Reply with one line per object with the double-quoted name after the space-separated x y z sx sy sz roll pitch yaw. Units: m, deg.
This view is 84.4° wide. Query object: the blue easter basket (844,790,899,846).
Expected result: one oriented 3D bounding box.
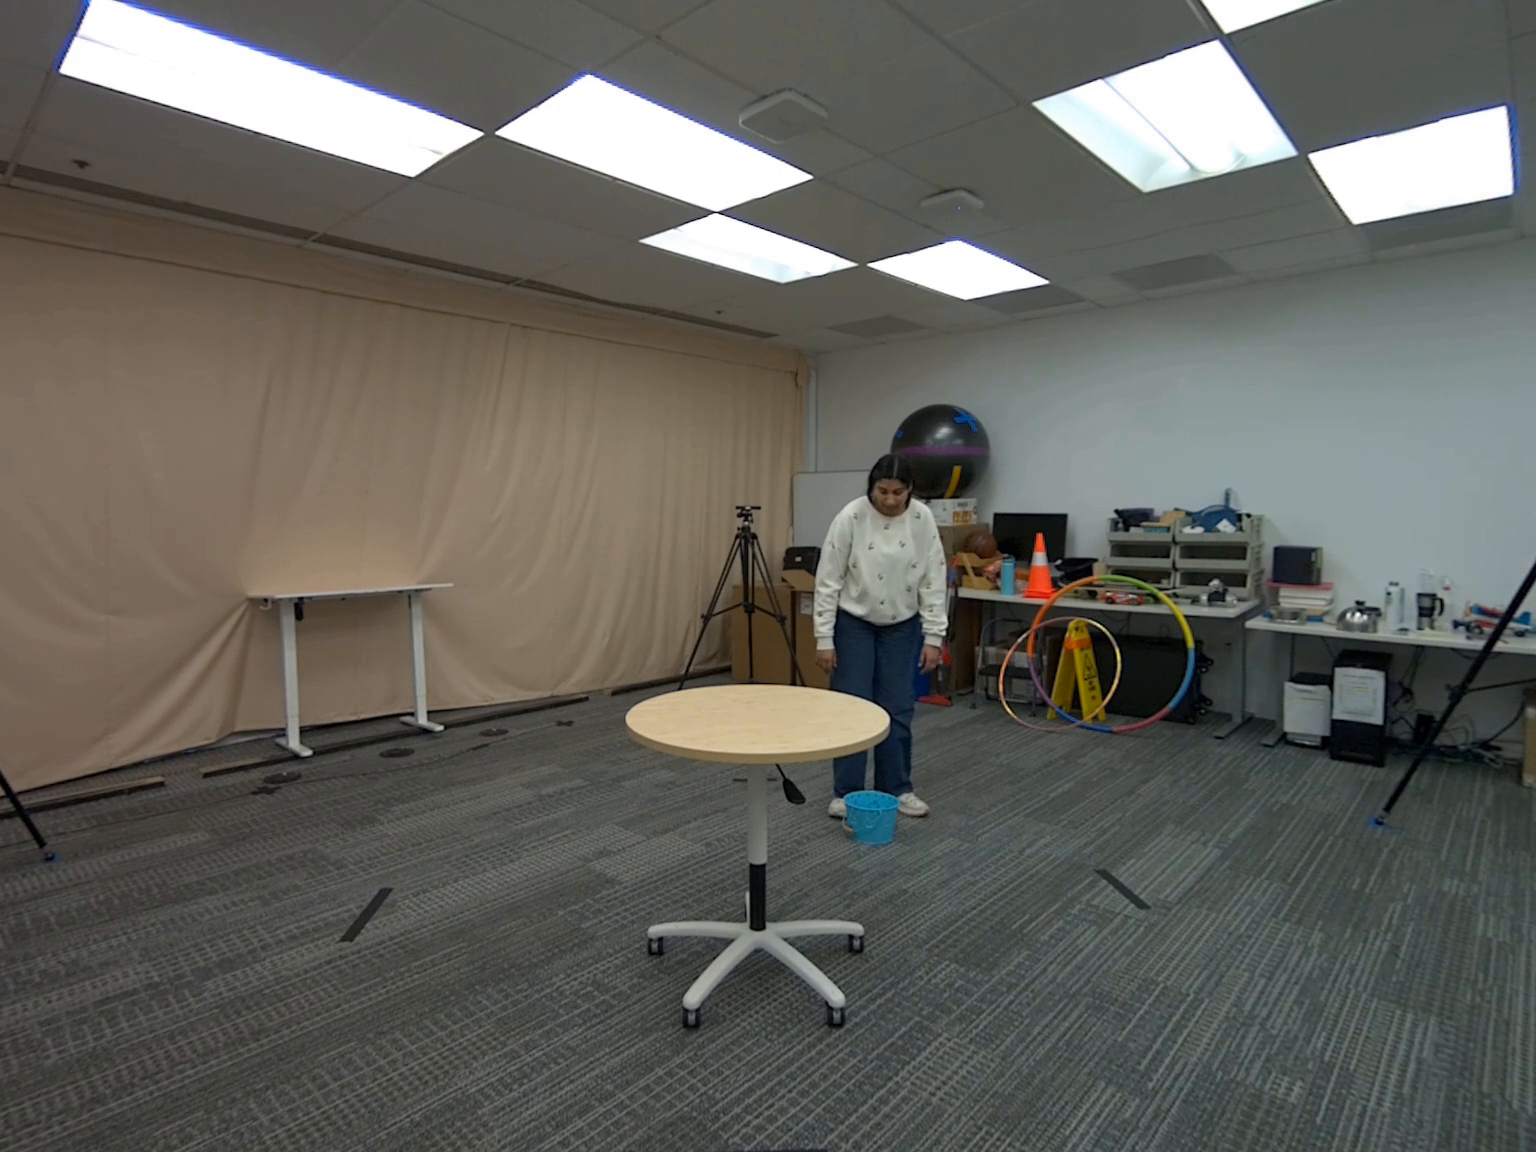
0.432 1.014 3.558 0.243 0.155 0.244 1 4 -2 "blue easter basket"
